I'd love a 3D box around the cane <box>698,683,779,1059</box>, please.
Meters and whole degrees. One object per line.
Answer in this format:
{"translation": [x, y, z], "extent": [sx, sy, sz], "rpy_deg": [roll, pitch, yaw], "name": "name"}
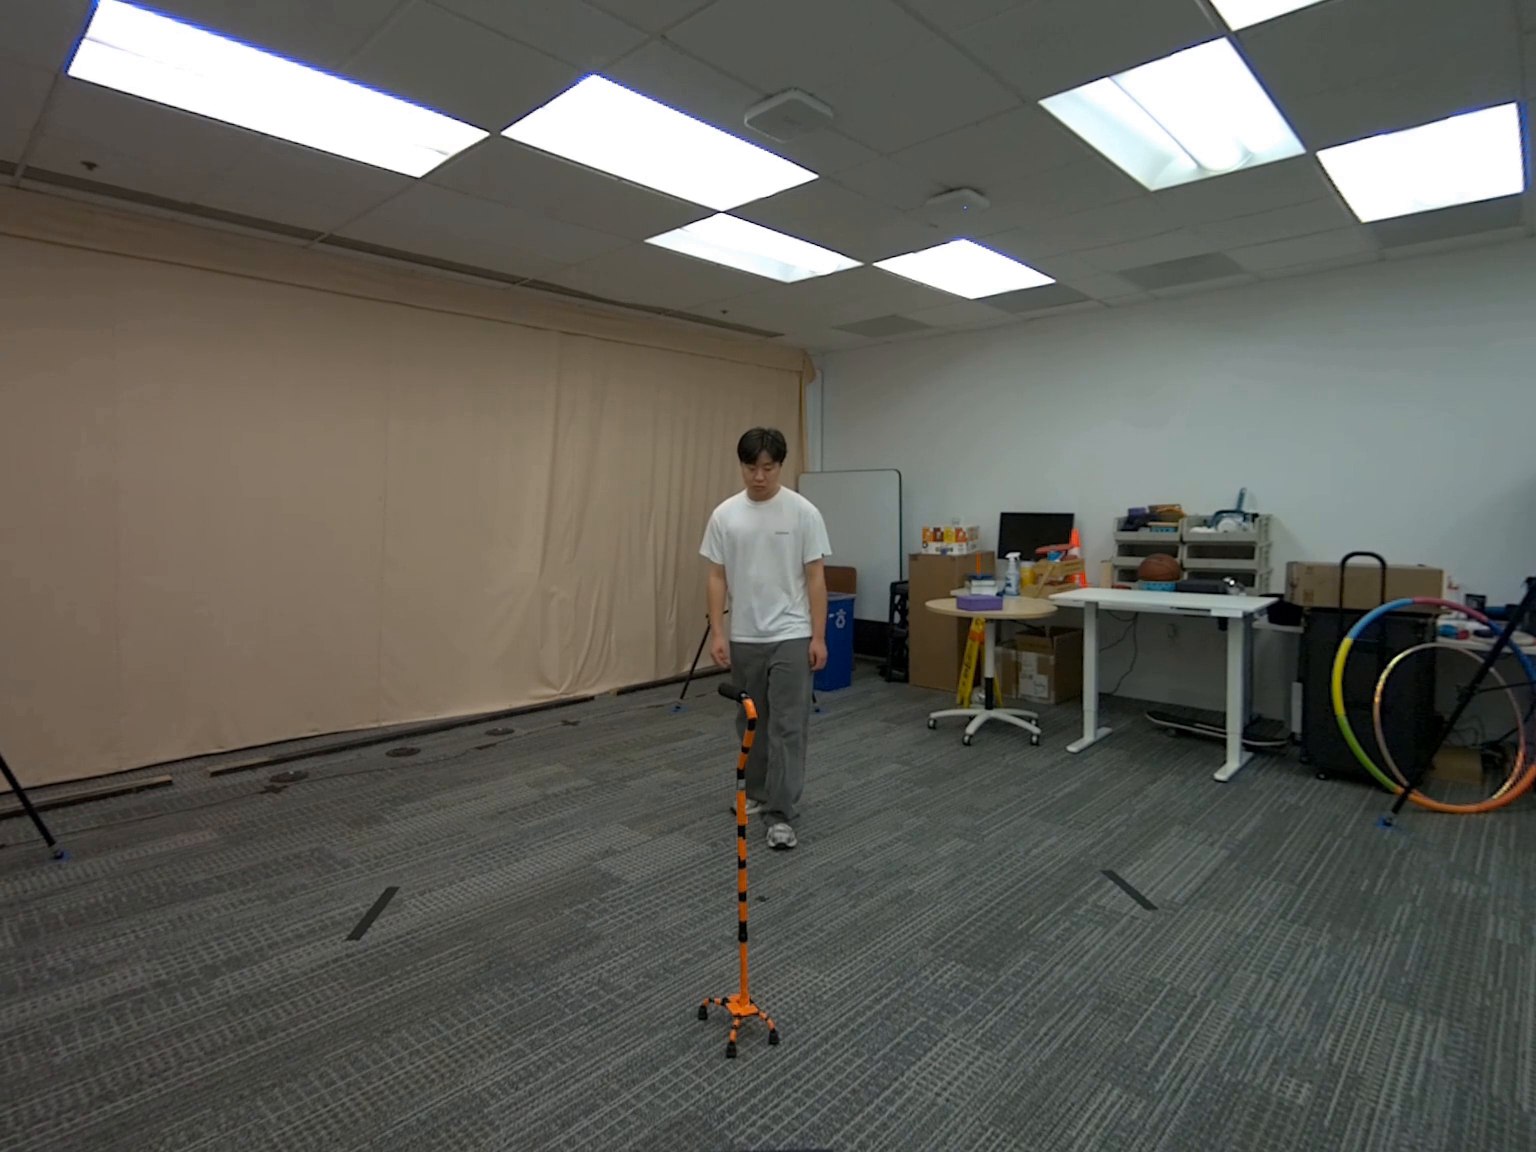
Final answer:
{"translation": [-0.084, 0.750, 2.215], "extent": [0.148, 0.906, 0.212], "rpy_deg": [-2, 4, -29], "name": "cane"}
